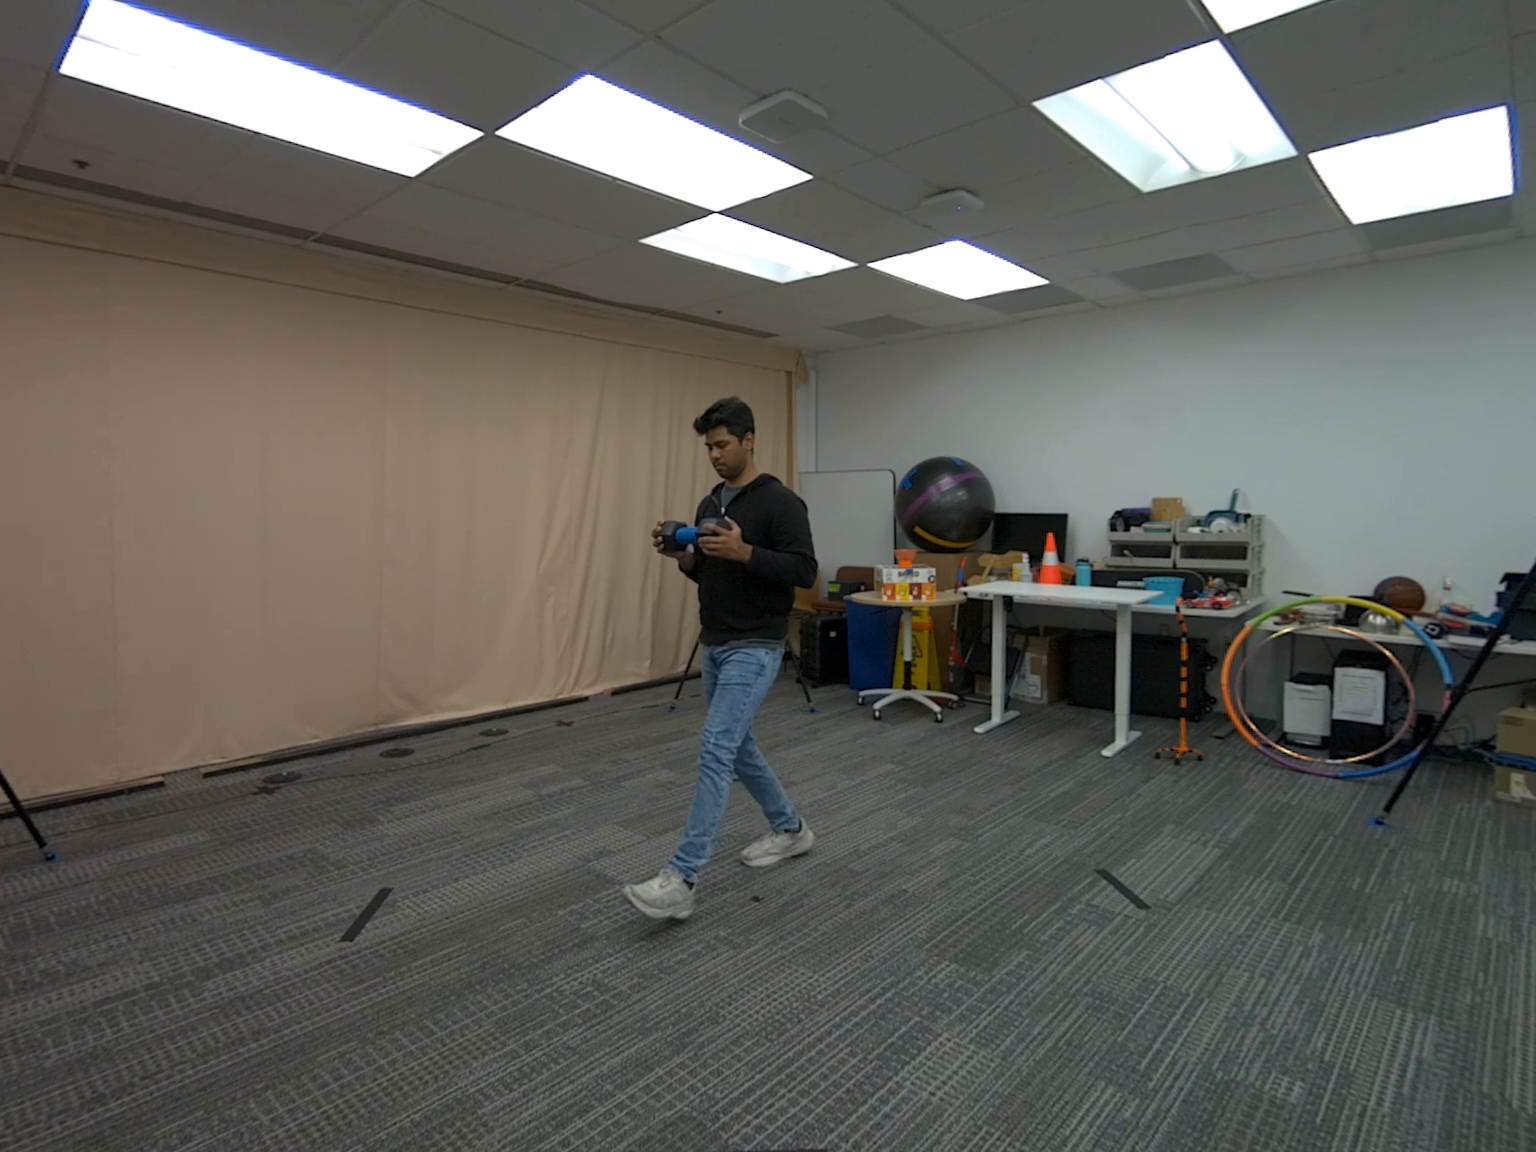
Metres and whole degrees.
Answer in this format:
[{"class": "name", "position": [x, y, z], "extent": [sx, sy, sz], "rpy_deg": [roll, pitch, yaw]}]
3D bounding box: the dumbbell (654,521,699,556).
[{"class": "dumbbell", "position": [-0.256, -0.133, 2.952], "extent": [0.303, 0.121, 0.107], "rpy_deg": [0, 27, 47]}]
